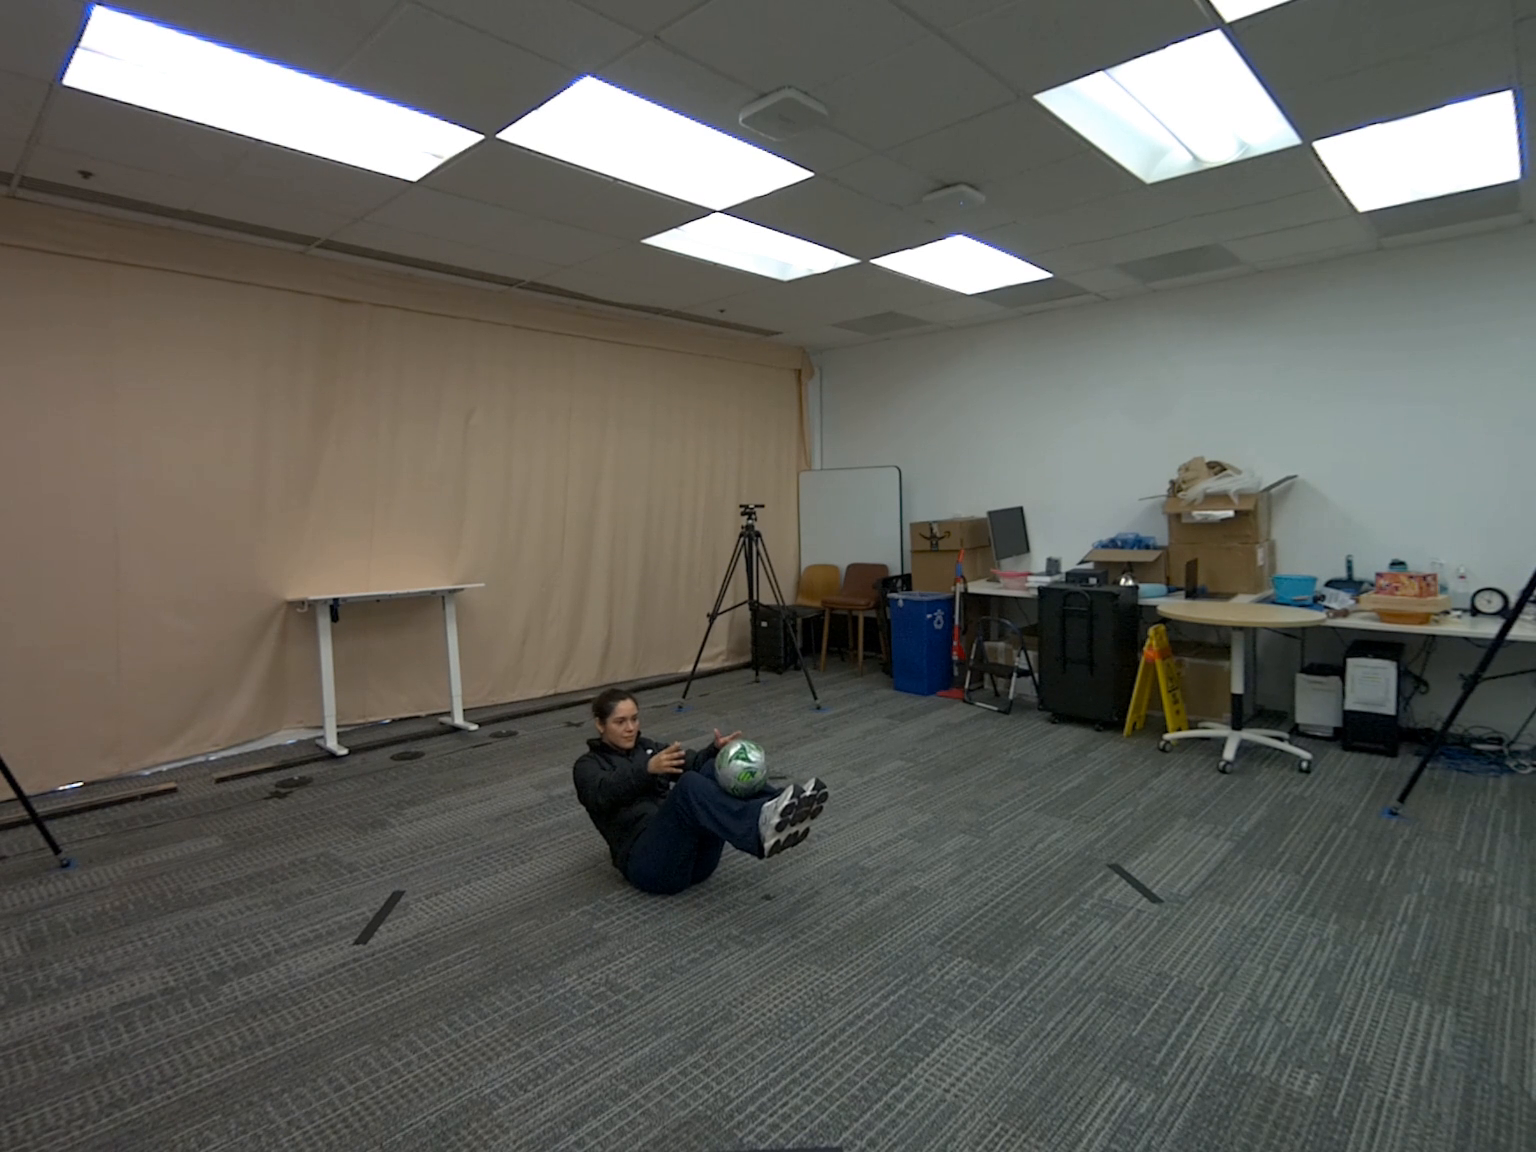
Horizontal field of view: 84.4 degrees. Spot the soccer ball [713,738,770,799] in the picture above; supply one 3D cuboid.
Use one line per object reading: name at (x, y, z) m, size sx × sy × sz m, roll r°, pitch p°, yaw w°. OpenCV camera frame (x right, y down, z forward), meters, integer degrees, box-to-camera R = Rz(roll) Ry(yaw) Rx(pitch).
soccer ball at (-0.080, 0.636, 2.805) m, size 0.187 × 0.187 × 0.188 m, roll 2°, pitch 5°, yaw -2°
